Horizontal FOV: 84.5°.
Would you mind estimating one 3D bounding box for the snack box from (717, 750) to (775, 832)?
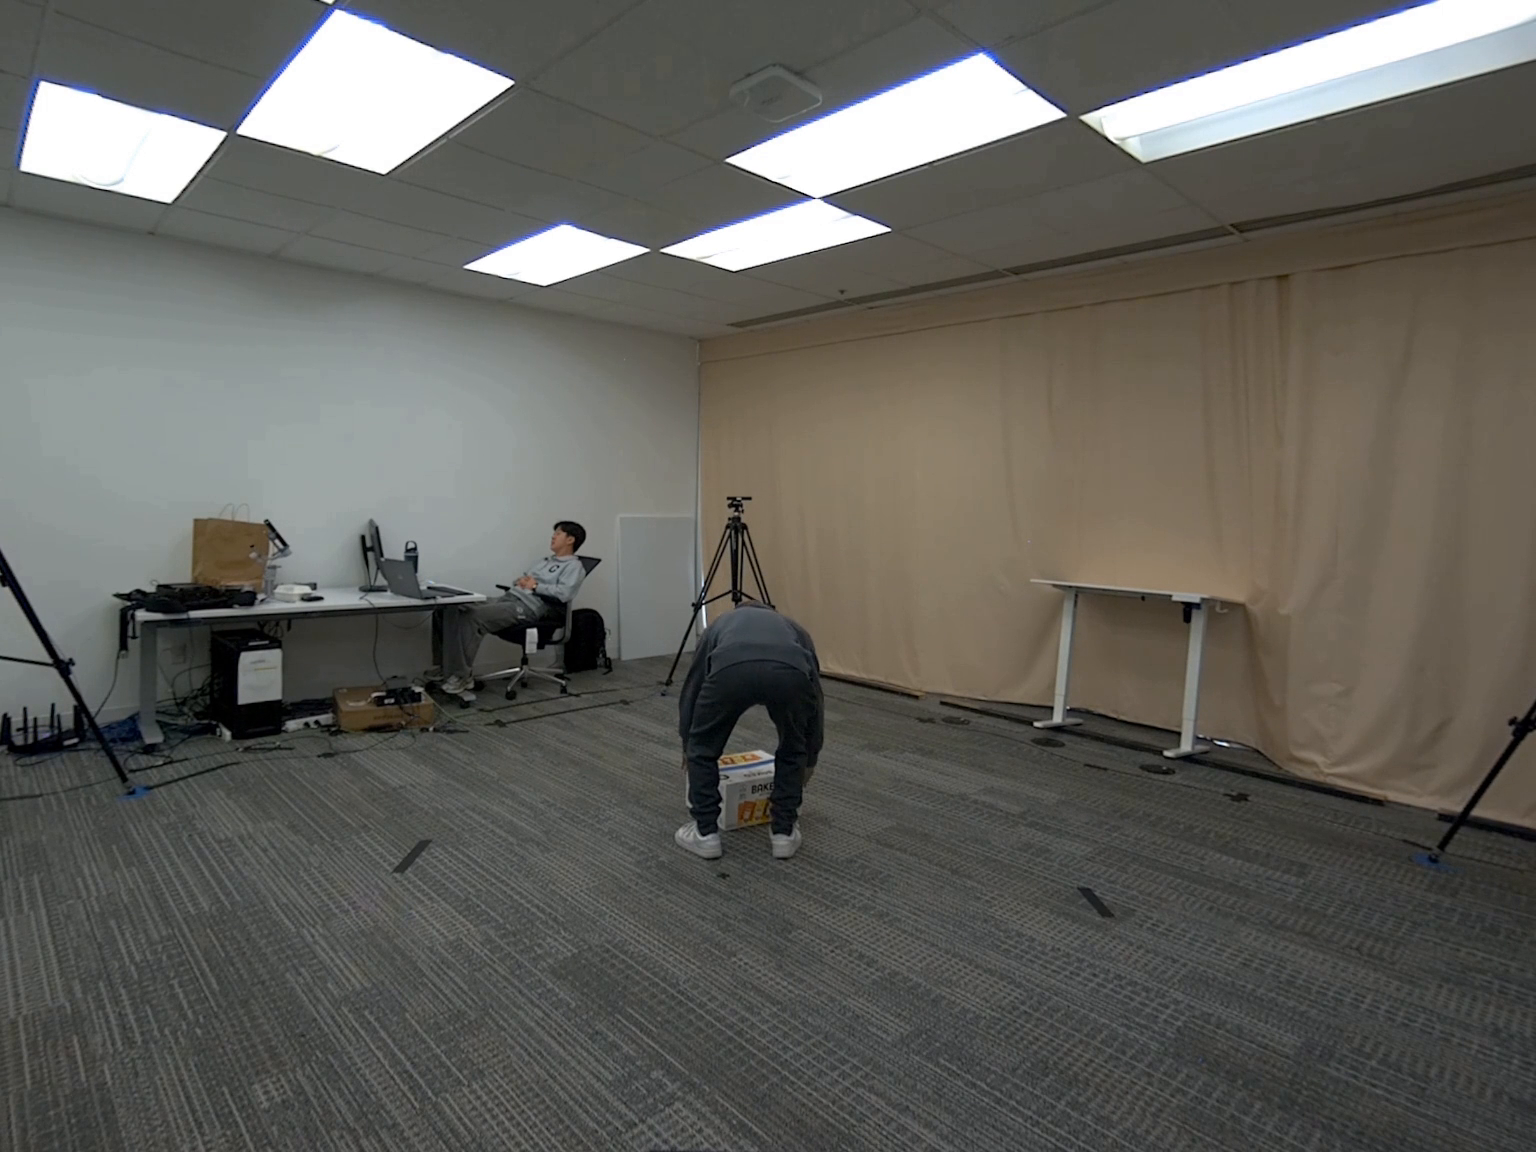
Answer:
[{"bbox_3d":[-0.112,0.944,3.756,0.396,0.205,0.348,-1,5,-34],"label":"snack box"}]
